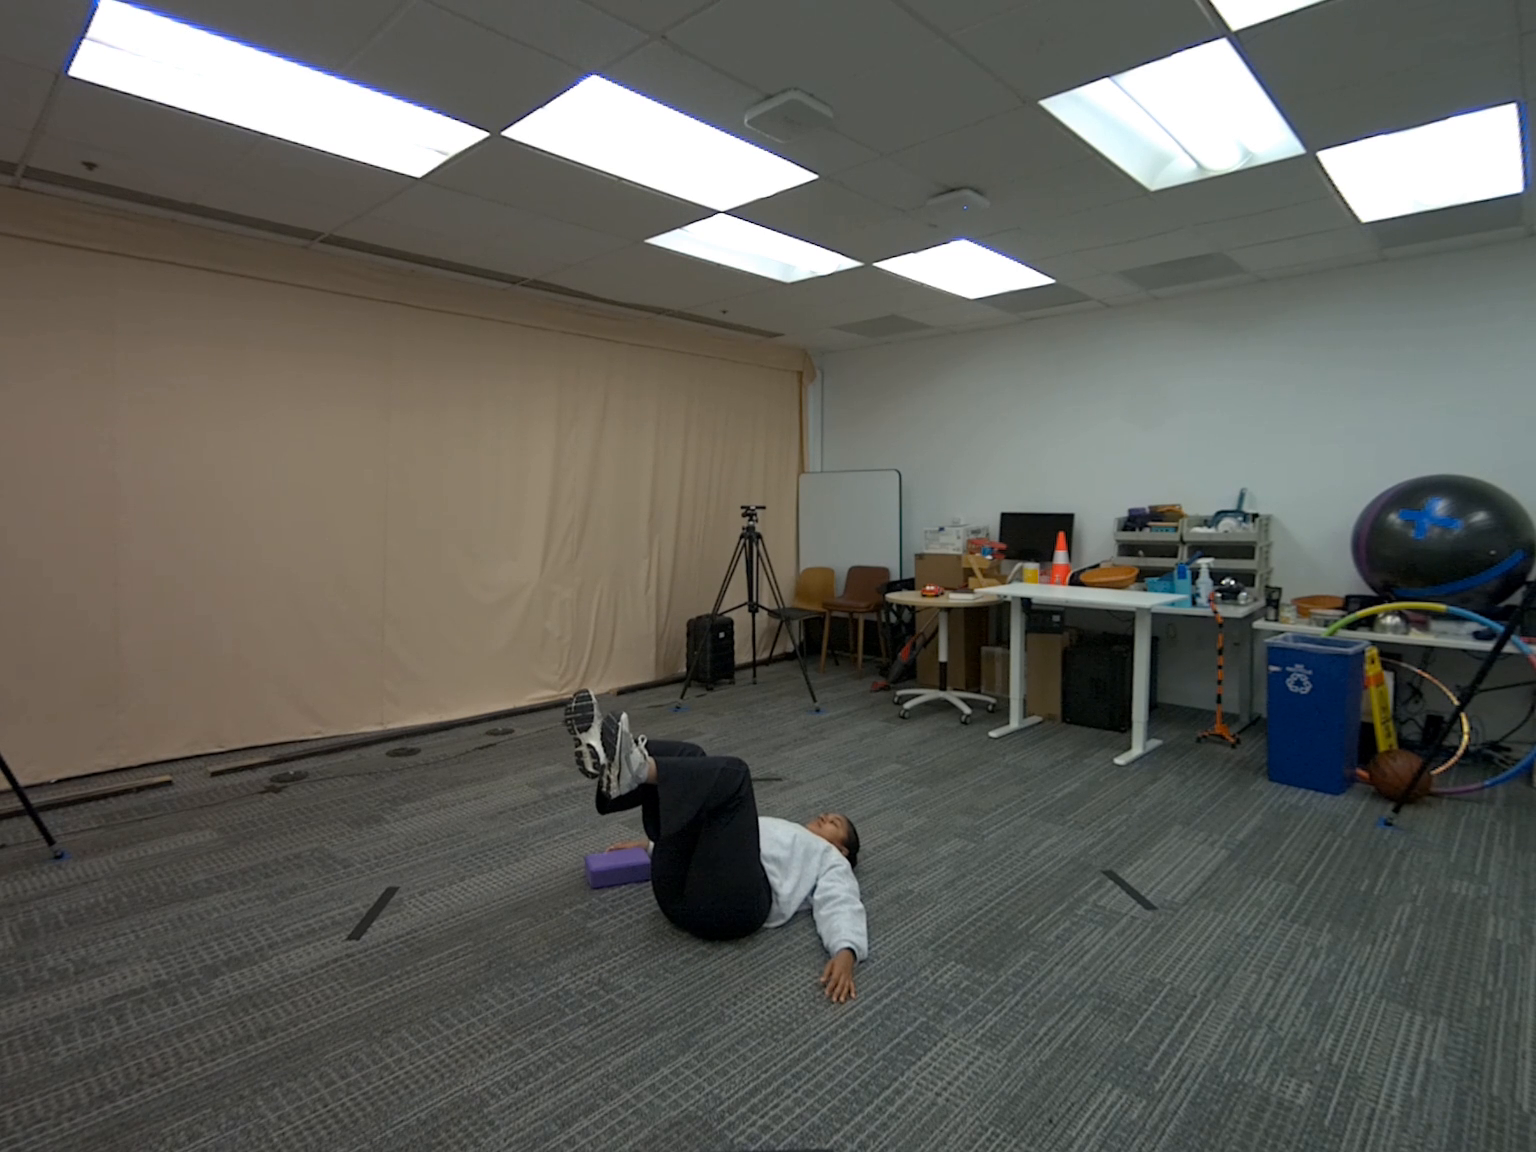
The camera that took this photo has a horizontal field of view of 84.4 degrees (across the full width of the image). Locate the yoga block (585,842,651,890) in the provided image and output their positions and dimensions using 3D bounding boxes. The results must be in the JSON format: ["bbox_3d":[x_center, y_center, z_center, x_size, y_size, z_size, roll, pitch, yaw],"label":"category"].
[{"bbox_3d":[-0.565,1.093,3.161,0.225,0.076,0.152,-3,5,-19],"label":"yoga block"}]
